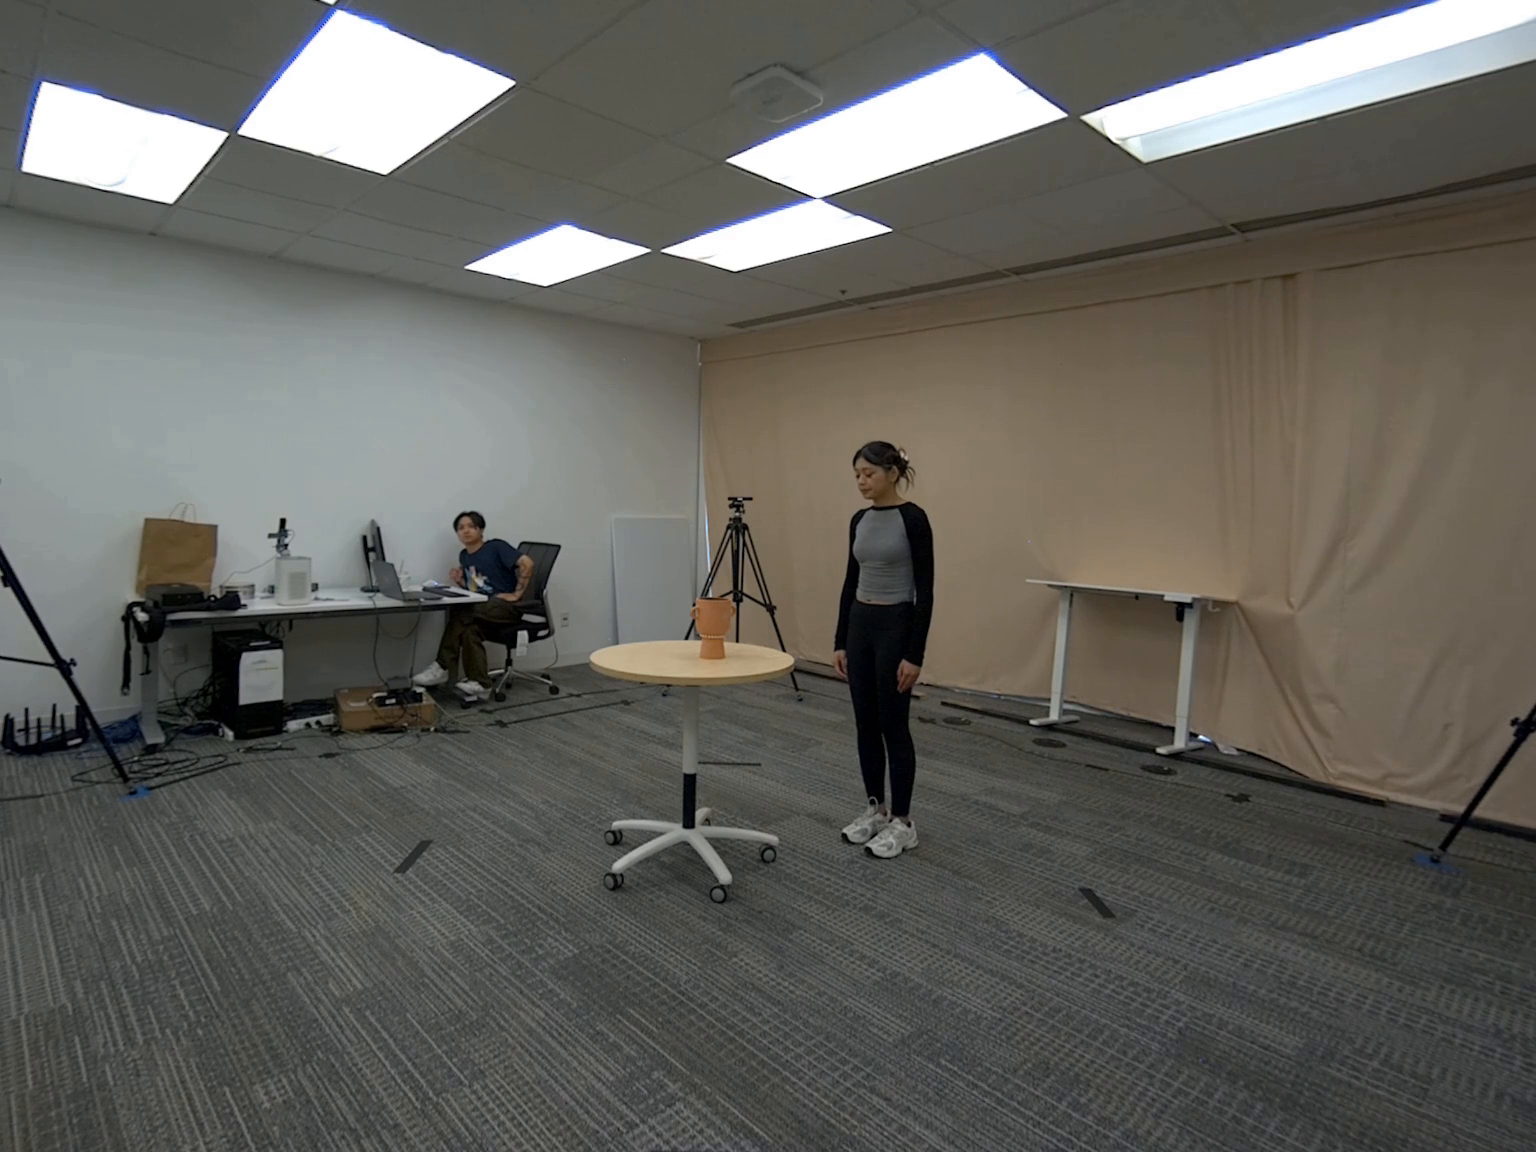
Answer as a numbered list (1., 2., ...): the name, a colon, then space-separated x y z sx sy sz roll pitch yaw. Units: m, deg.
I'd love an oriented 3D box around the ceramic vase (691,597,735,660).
1. ceramic vase: -0.215 0.196 3.167 0.160 0.219 0.134 1 4 7
